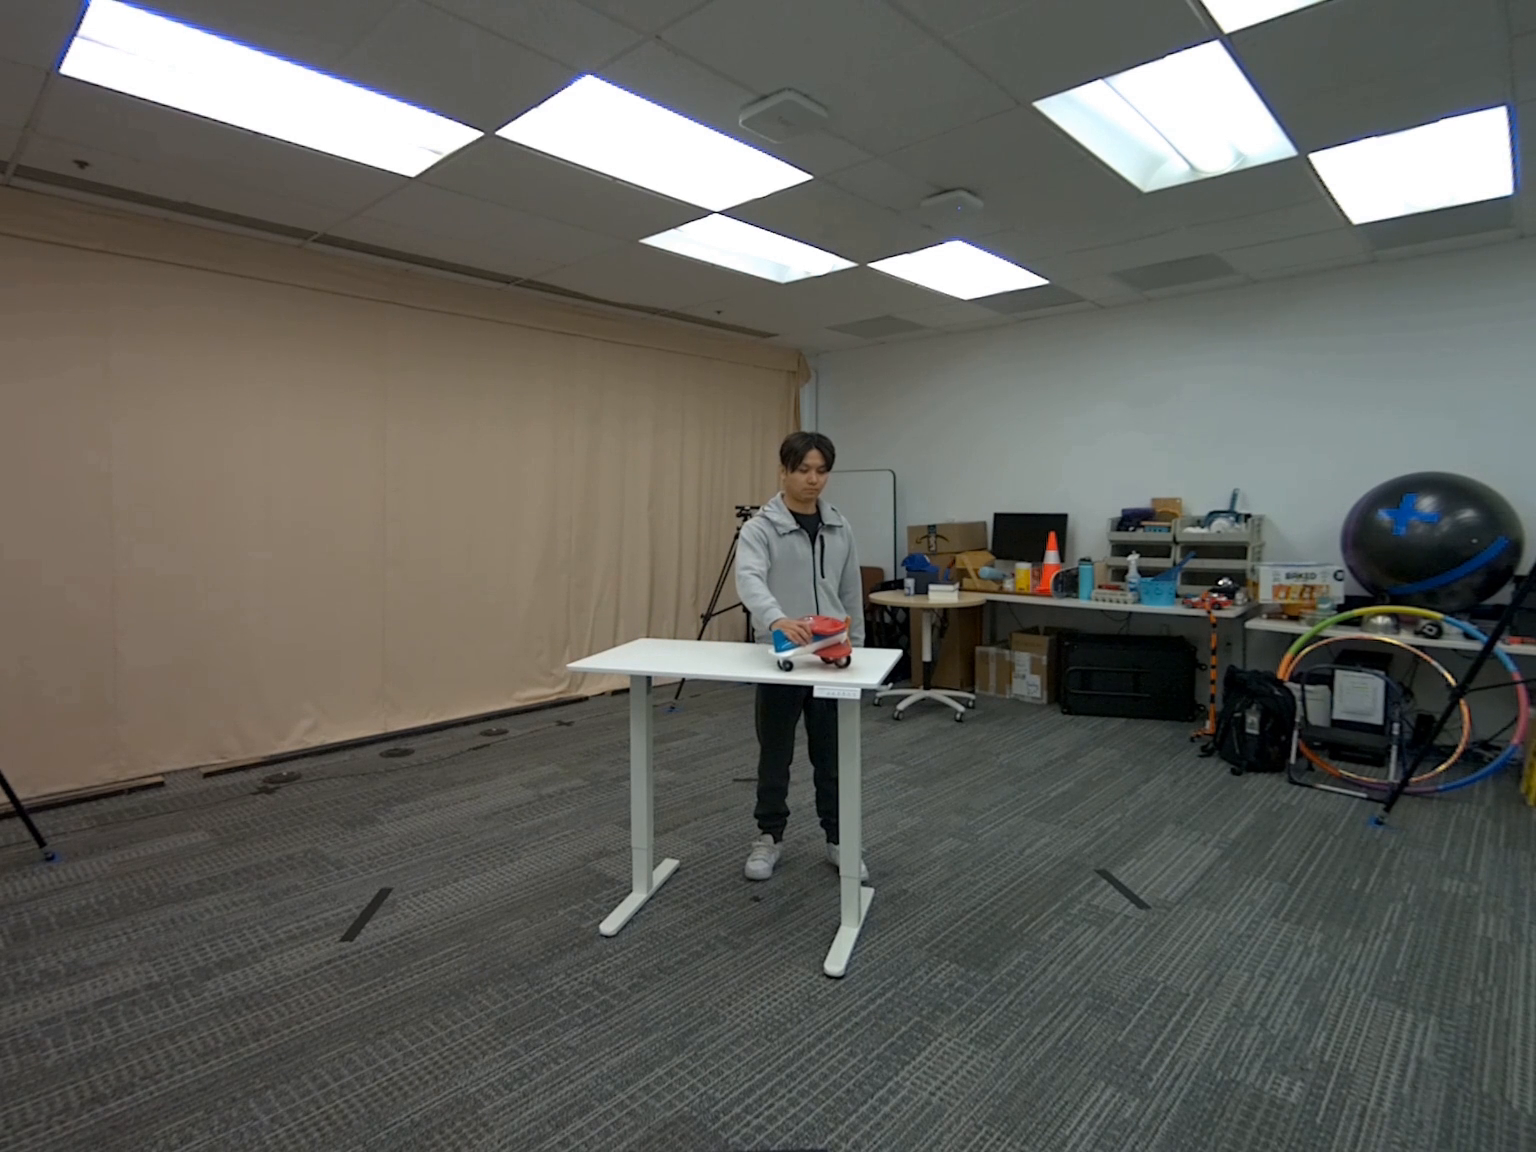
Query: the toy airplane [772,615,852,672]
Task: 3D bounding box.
[{"bbox_3d":[0.145,0.214,2.619,0.259,0.156,0.251,2,5,40],"label":"toy airplane"}]
